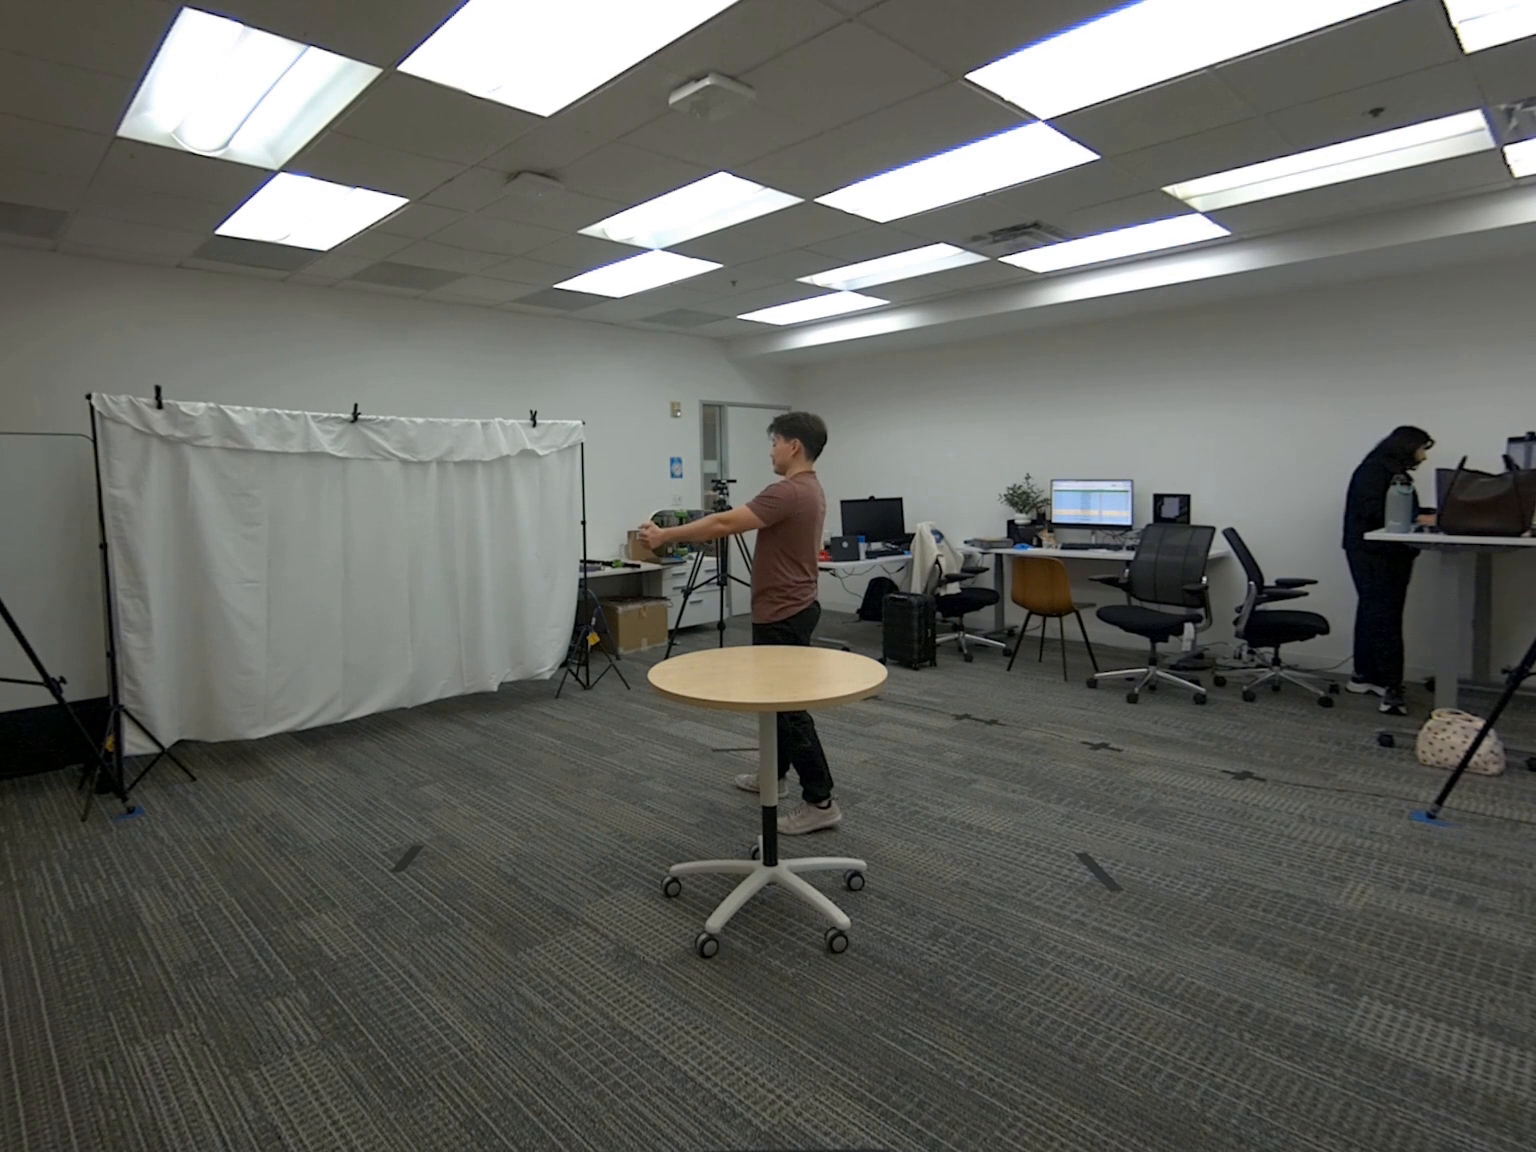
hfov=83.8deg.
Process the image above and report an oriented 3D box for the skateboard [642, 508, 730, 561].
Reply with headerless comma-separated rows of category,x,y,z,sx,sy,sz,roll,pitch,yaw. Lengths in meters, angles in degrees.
skateboard,-0.334,-0.190,3.658,0.112,0.193,0.775,-1,4,15
